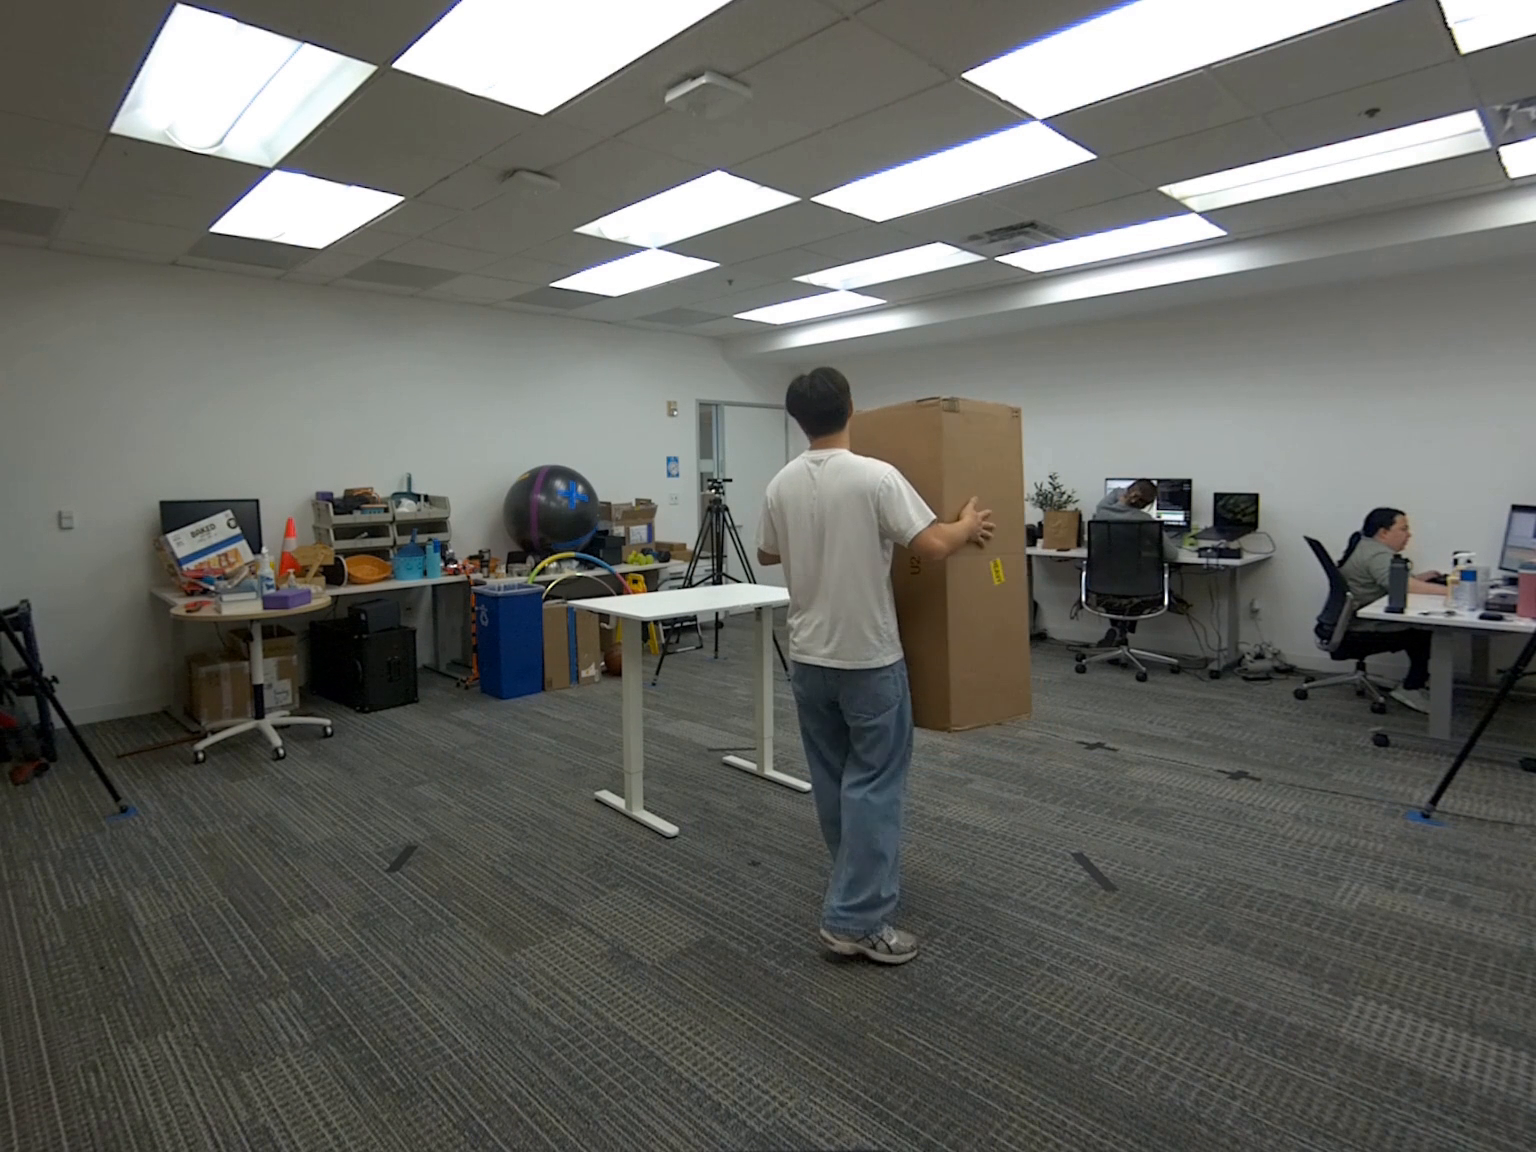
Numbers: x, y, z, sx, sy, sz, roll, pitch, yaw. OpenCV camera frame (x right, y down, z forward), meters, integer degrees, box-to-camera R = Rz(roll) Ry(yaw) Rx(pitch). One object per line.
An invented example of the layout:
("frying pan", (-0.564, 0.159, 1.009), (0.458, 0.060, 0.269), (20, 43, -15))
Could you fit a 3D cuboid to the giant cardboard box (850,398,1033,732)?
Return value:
("giant cardboard box", (0.512, -0.048, 2.931), (0.414, 1.027, 0.593), (-1, -1, -39))
